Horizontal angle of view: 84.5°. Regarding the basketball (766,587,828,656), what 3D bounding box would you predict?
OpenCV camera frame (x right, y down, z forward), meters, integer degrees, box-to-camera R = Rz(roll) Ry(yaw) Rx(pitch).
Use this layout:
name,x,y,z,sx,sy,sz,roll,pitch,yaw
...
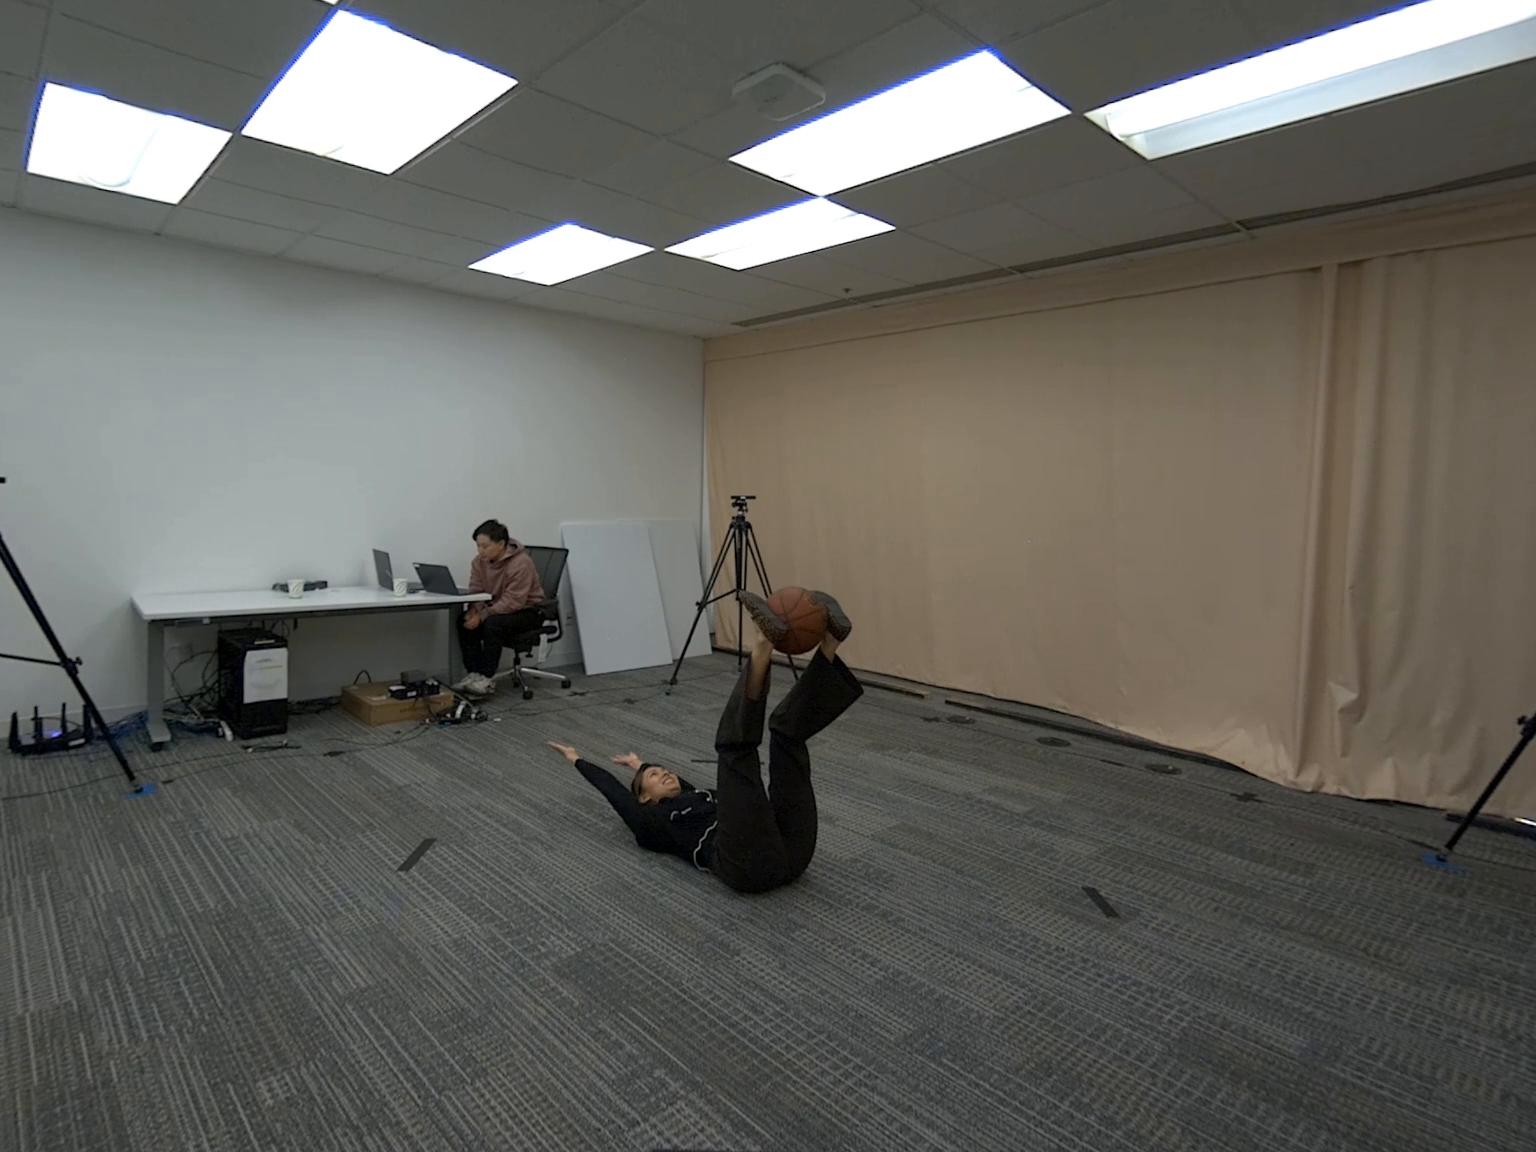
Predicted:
name,x,y,z,sx,sy,sz,roll,pitch,yaw
basketball,0.078,0.157,2.912,0.236,0.235,0.237,1,4,-1
